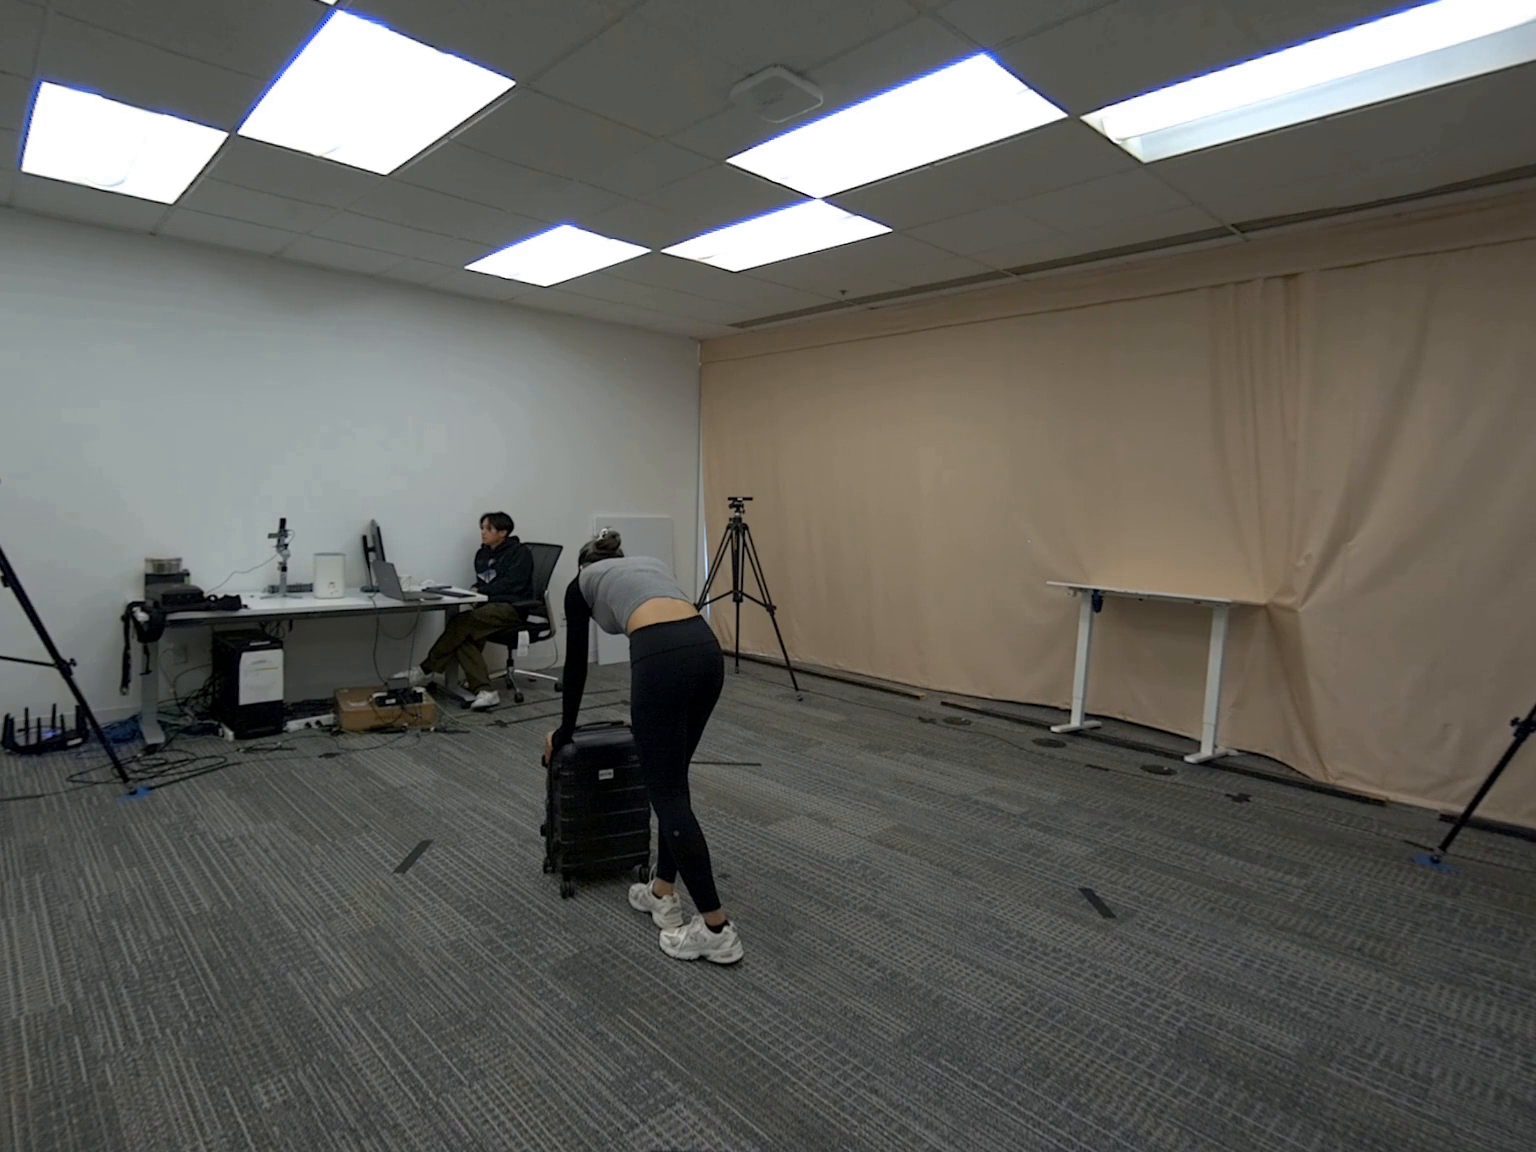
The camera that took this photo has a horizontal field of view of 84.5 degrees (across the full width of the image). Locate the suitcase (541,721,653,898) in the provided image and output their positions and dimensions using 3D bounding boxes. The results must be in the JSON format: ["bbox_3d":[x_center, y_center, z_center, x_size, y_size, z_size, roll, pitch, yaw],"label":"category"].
[{"bbox_3d":[-0.630,0.822,3.087,0.368,0.548,0.253,-1,3,-28],"label":"suitcase"}]
